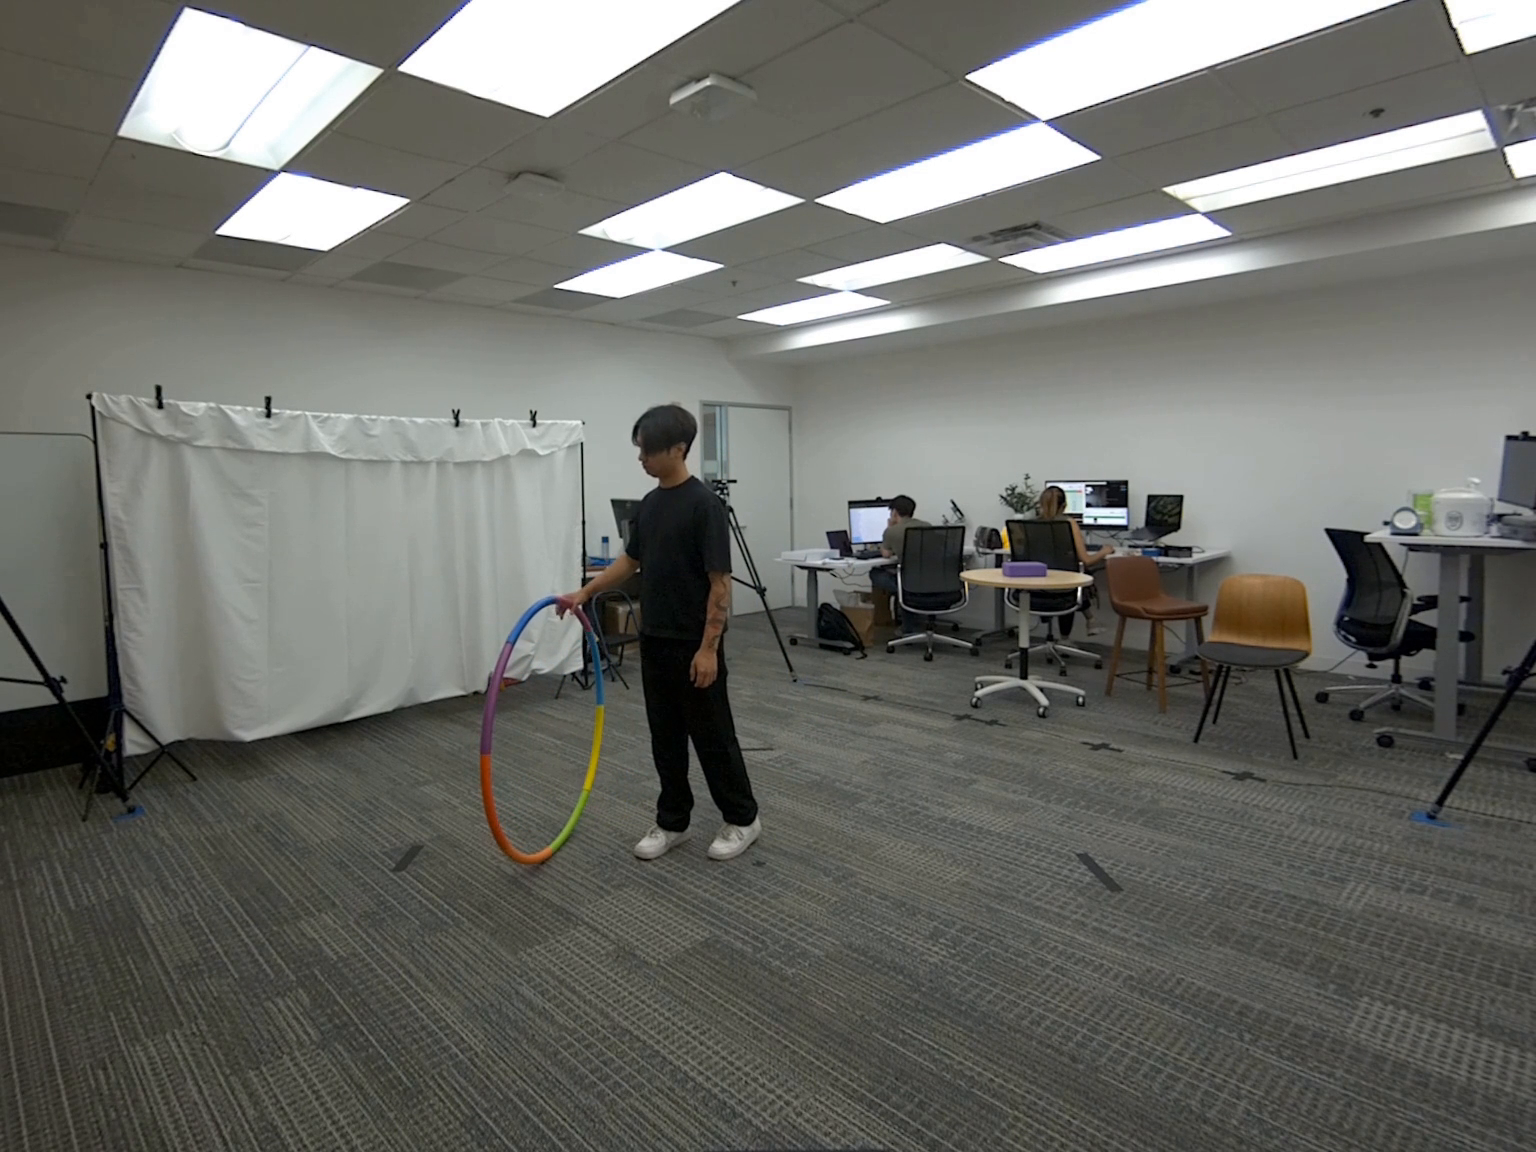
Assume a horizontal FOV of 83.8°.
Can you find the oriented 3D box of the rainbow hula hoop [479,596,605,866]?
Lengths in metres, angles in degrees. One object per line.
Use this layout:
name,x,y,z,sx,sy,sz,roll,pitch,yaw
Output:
rainbow hula hoop,-0.807,0.569,3.217,0.036,0.975,0.970,0,5,11
